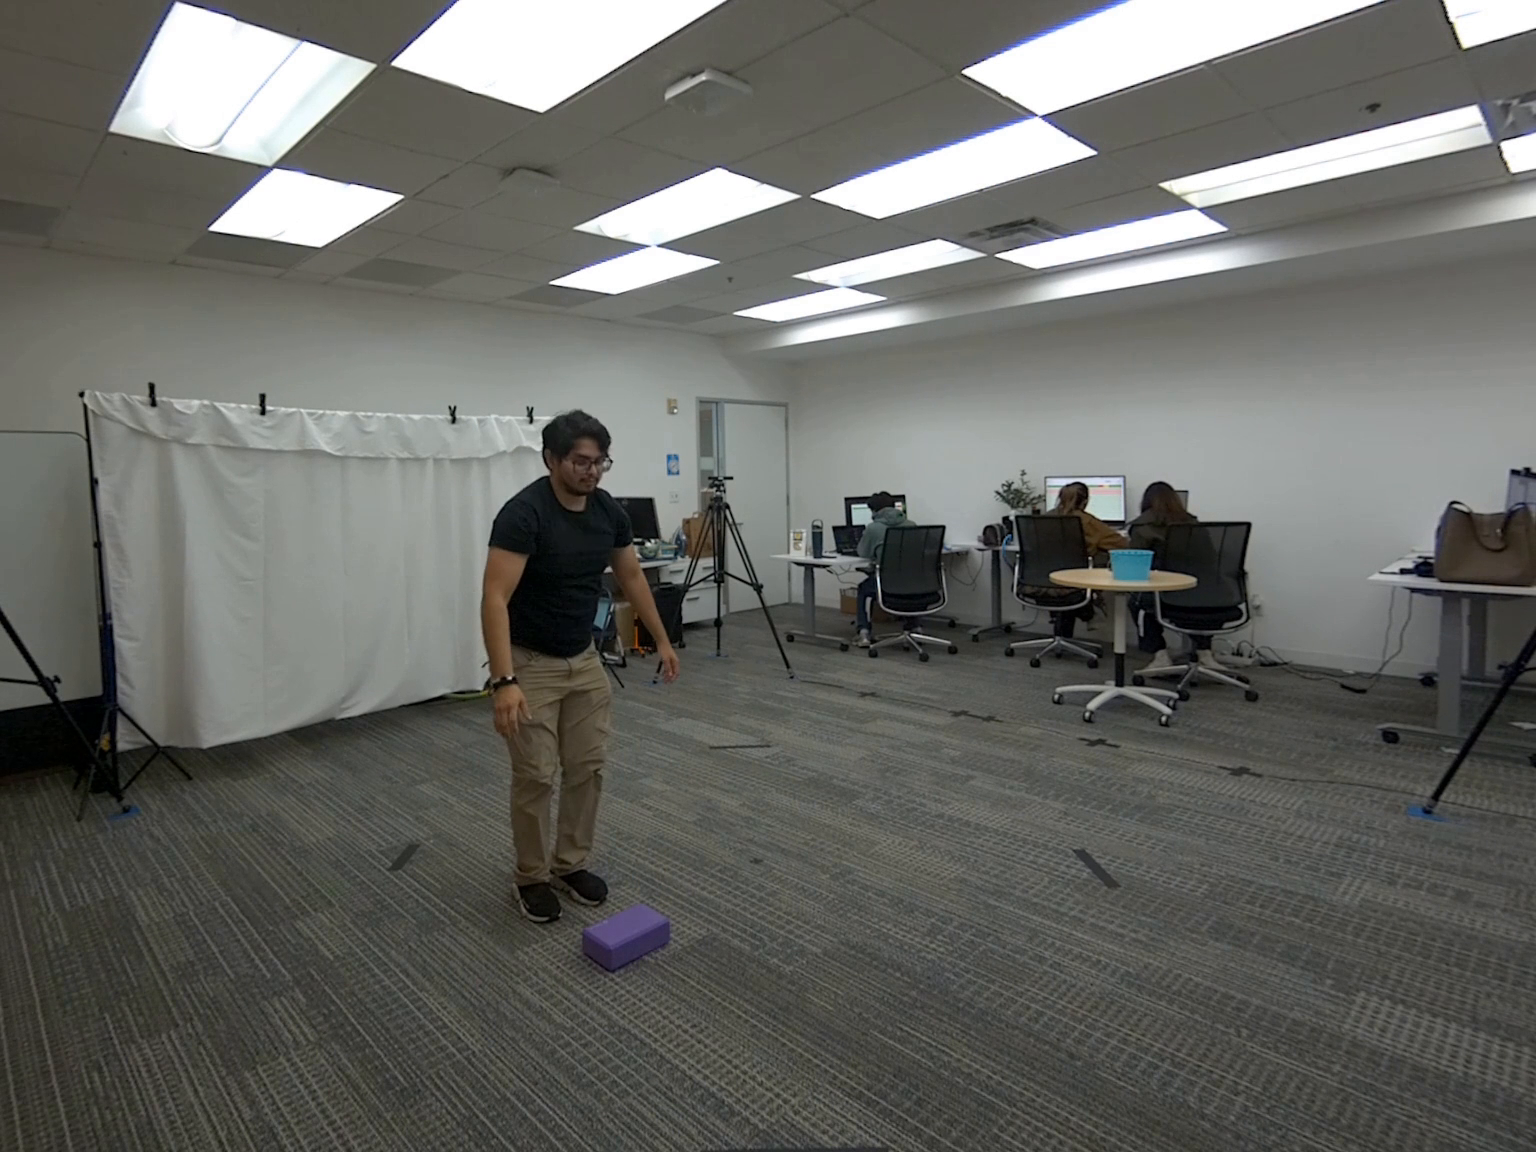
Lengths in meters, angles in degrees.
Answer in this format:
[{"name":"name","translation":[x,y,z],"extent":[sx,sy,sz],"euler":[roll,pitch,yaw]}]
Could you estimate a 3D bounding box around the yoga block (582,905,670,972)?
[{"name":"yoga block","translation":[-0.417,1.074,2.547],"extent":[0.154,0.076,0.223],"euler":[6,10,44]}]
